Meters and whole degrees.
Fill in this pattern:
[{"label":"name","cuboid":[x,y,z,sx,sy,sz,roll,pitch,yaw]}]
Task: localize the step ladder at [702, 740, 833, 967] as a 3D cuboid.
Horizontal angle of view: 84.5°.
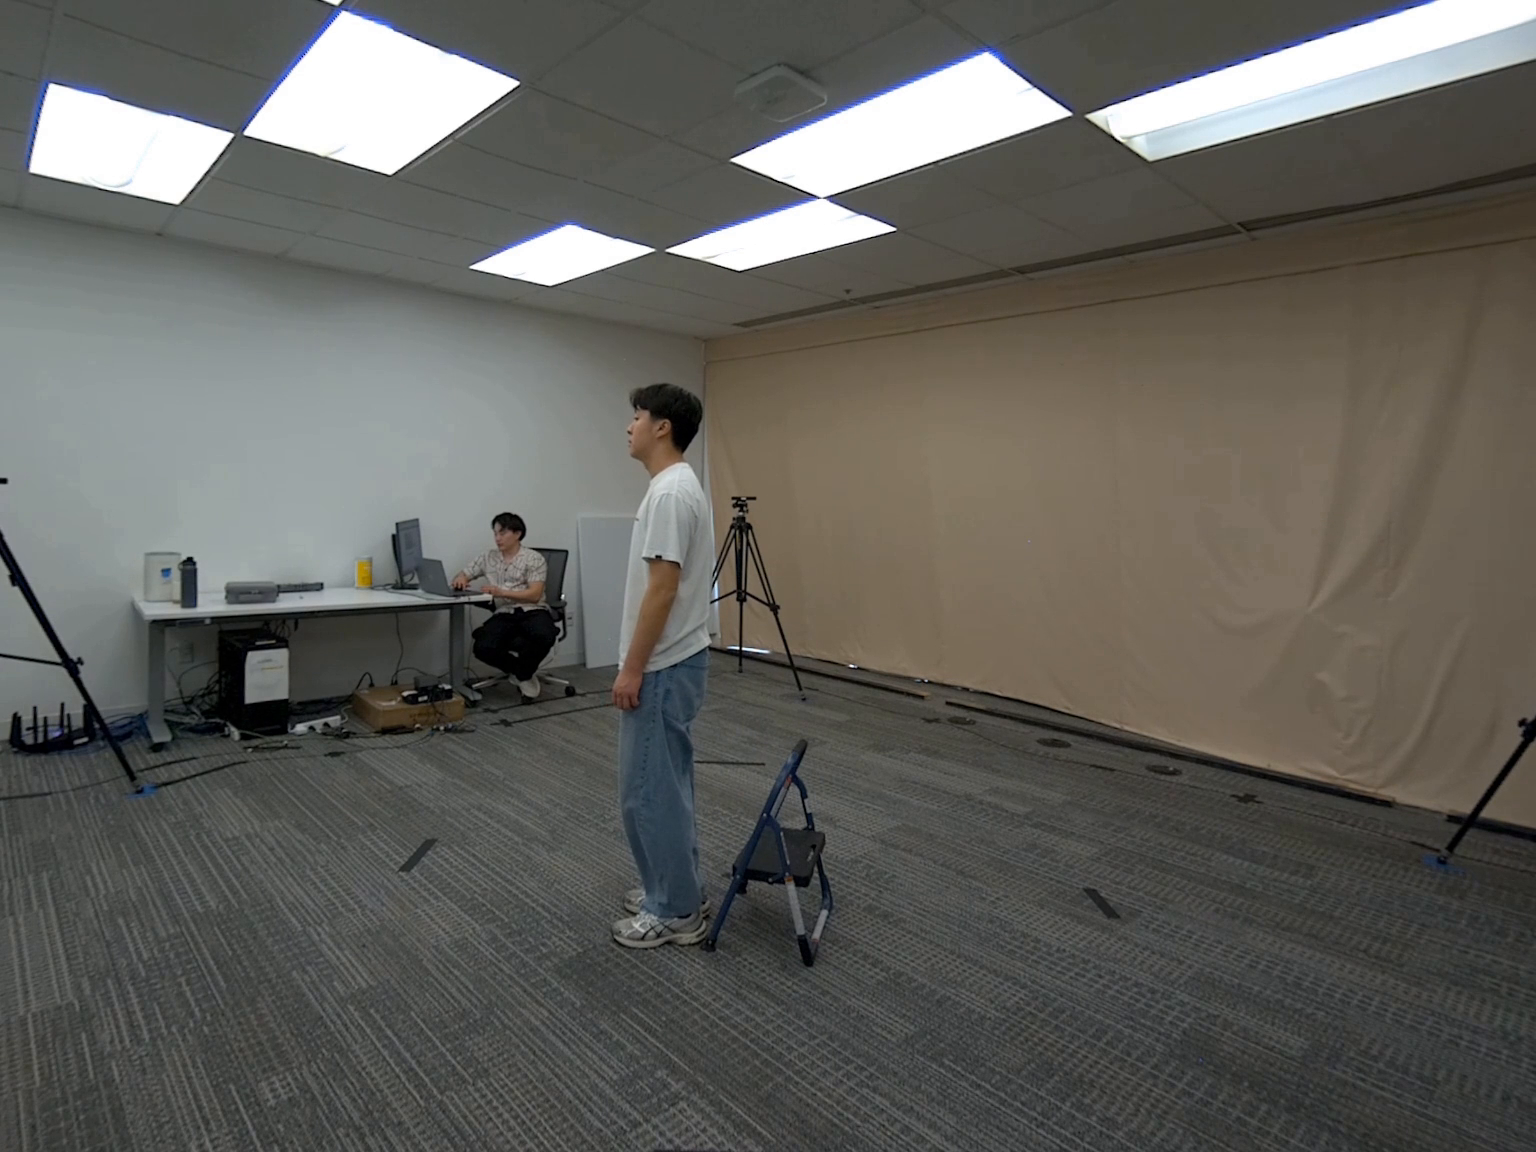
[{"label":"step ladder","cuboid":[0.013,0.844,2.724,0.353,0.604,0.427,2,4,13]}]
